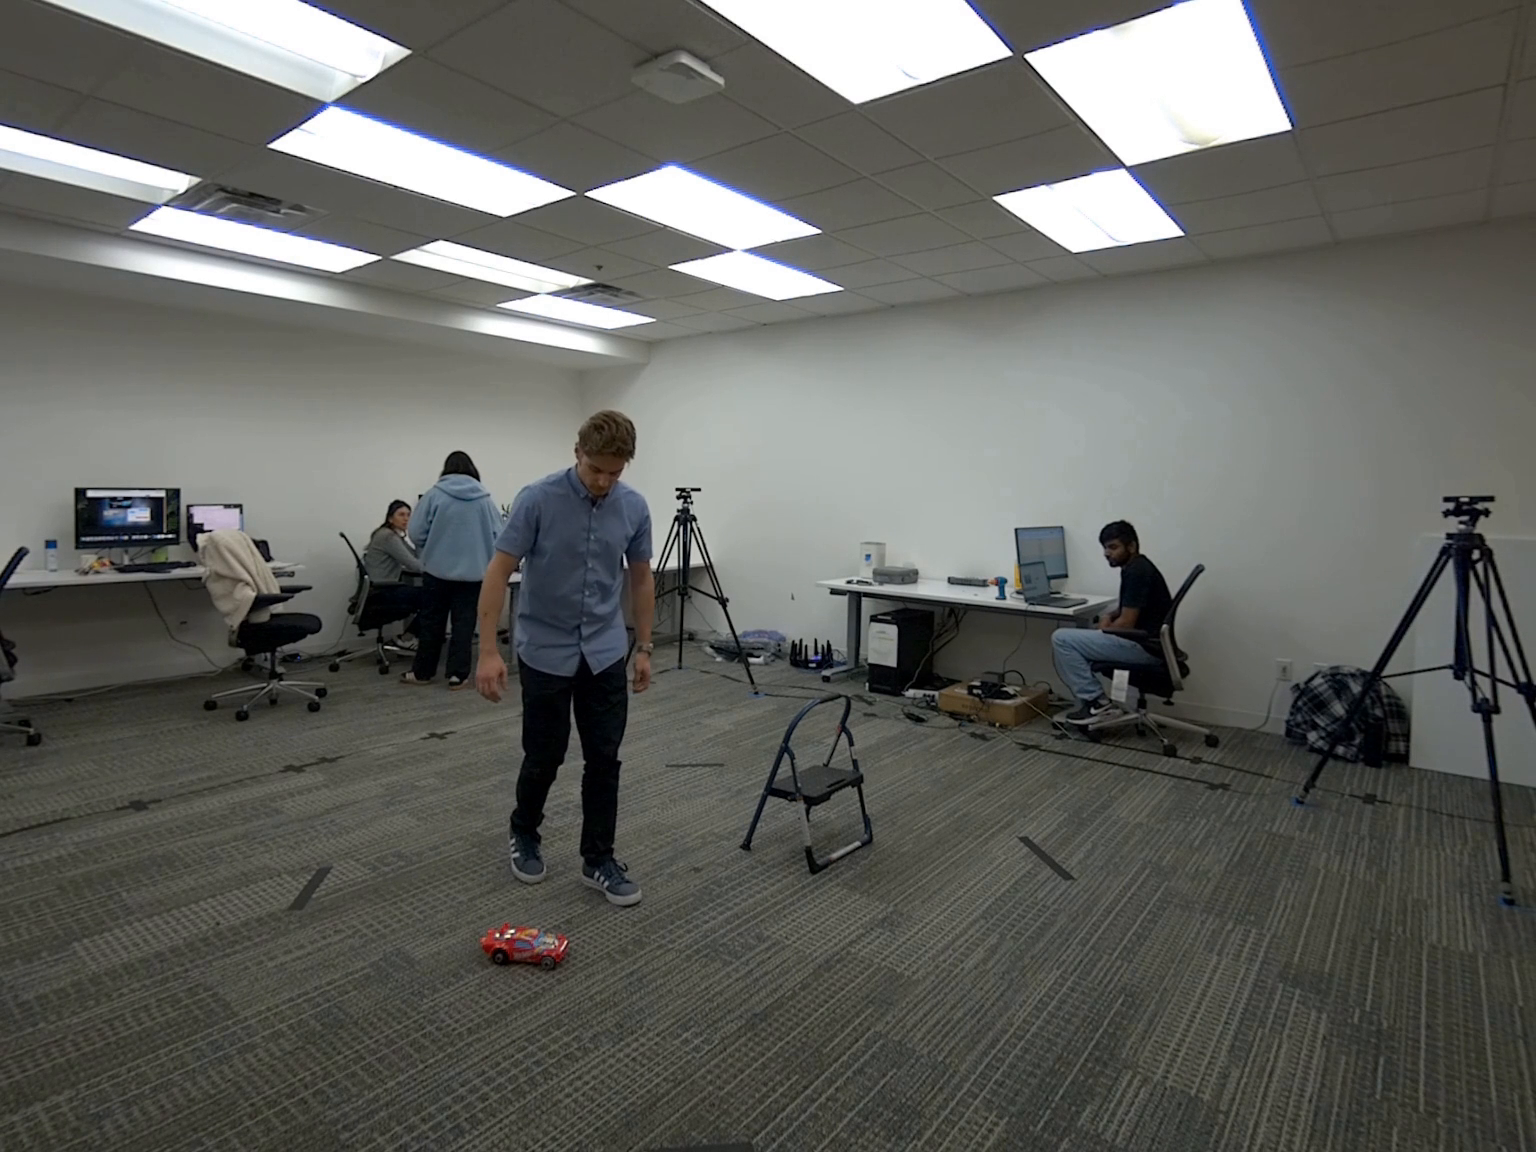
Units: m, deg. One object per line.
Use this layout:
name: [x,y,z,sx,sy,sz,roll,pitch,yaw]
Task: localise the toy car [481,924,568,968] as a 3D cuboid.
toy car: [-0.735,1.088,2.505,0.257,0.083,0.129,12,6,7]
